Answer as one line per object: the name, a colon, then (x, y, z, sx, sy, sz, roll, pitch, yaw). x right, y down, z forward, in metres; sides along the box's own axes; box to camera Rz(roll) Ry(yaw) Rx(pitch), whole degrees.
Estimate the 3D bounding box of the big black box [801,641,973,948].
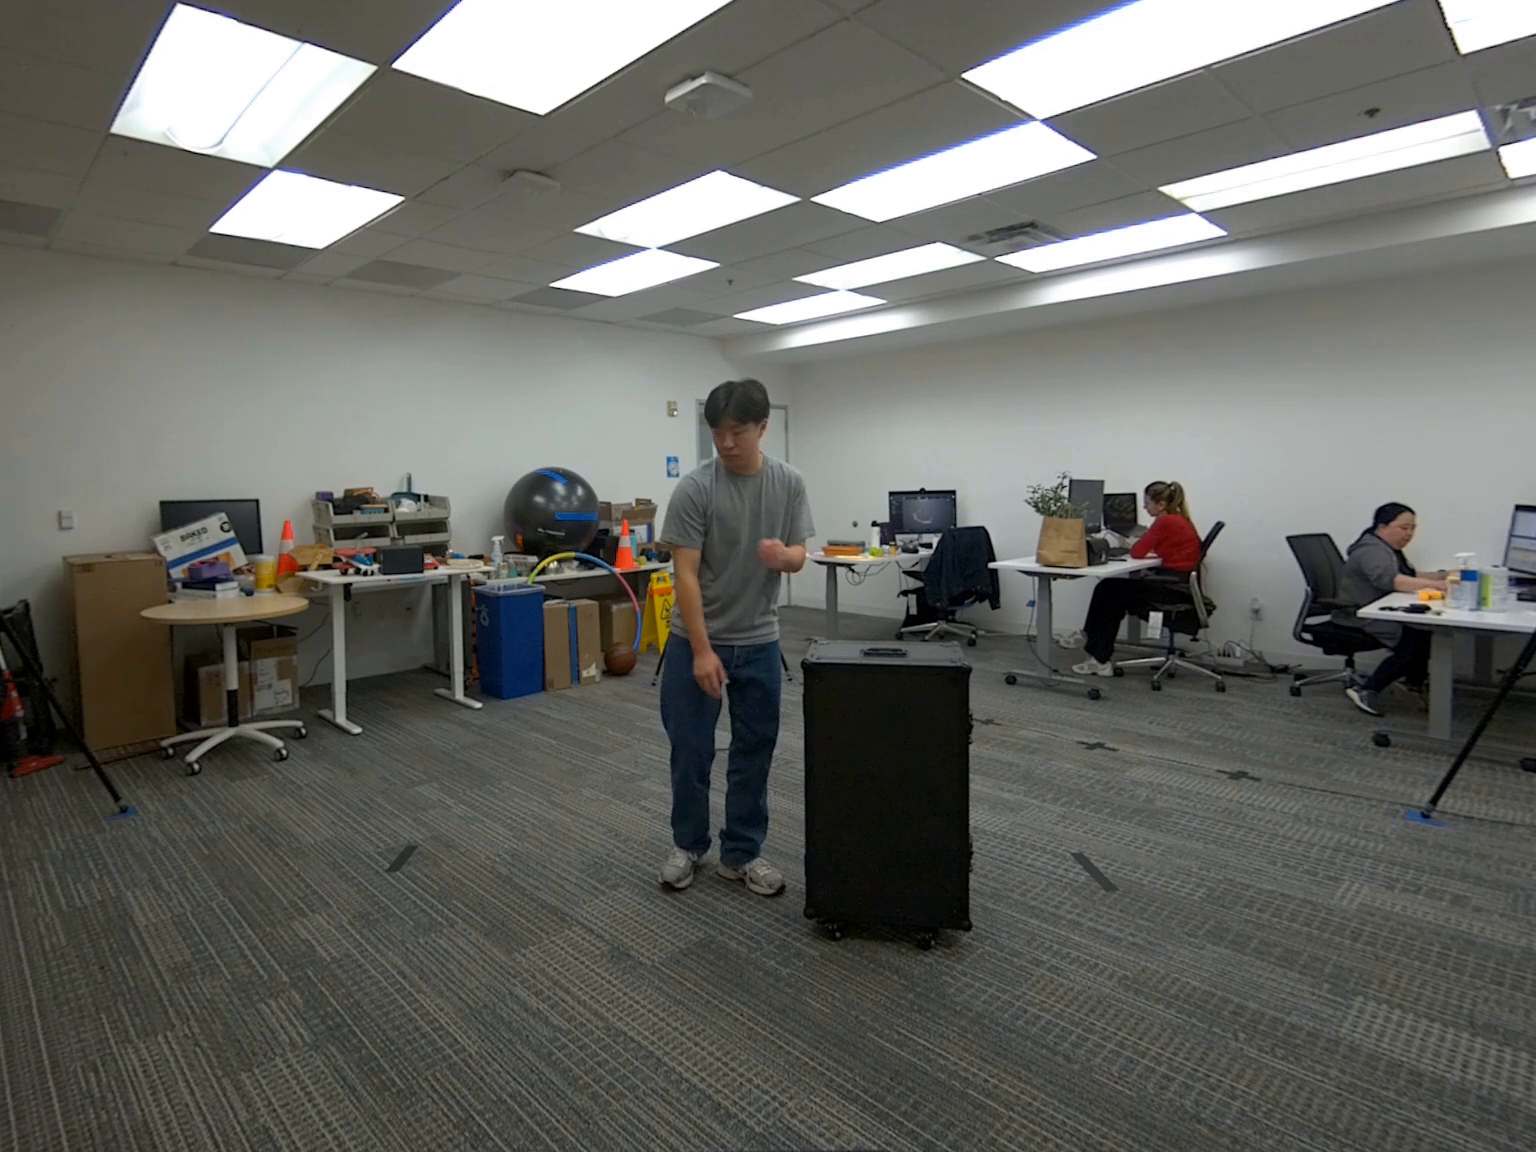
big black box: (0.370, 0.668, 2.685, 0.527, 0.859, 0.393, -1, 3, 10)
